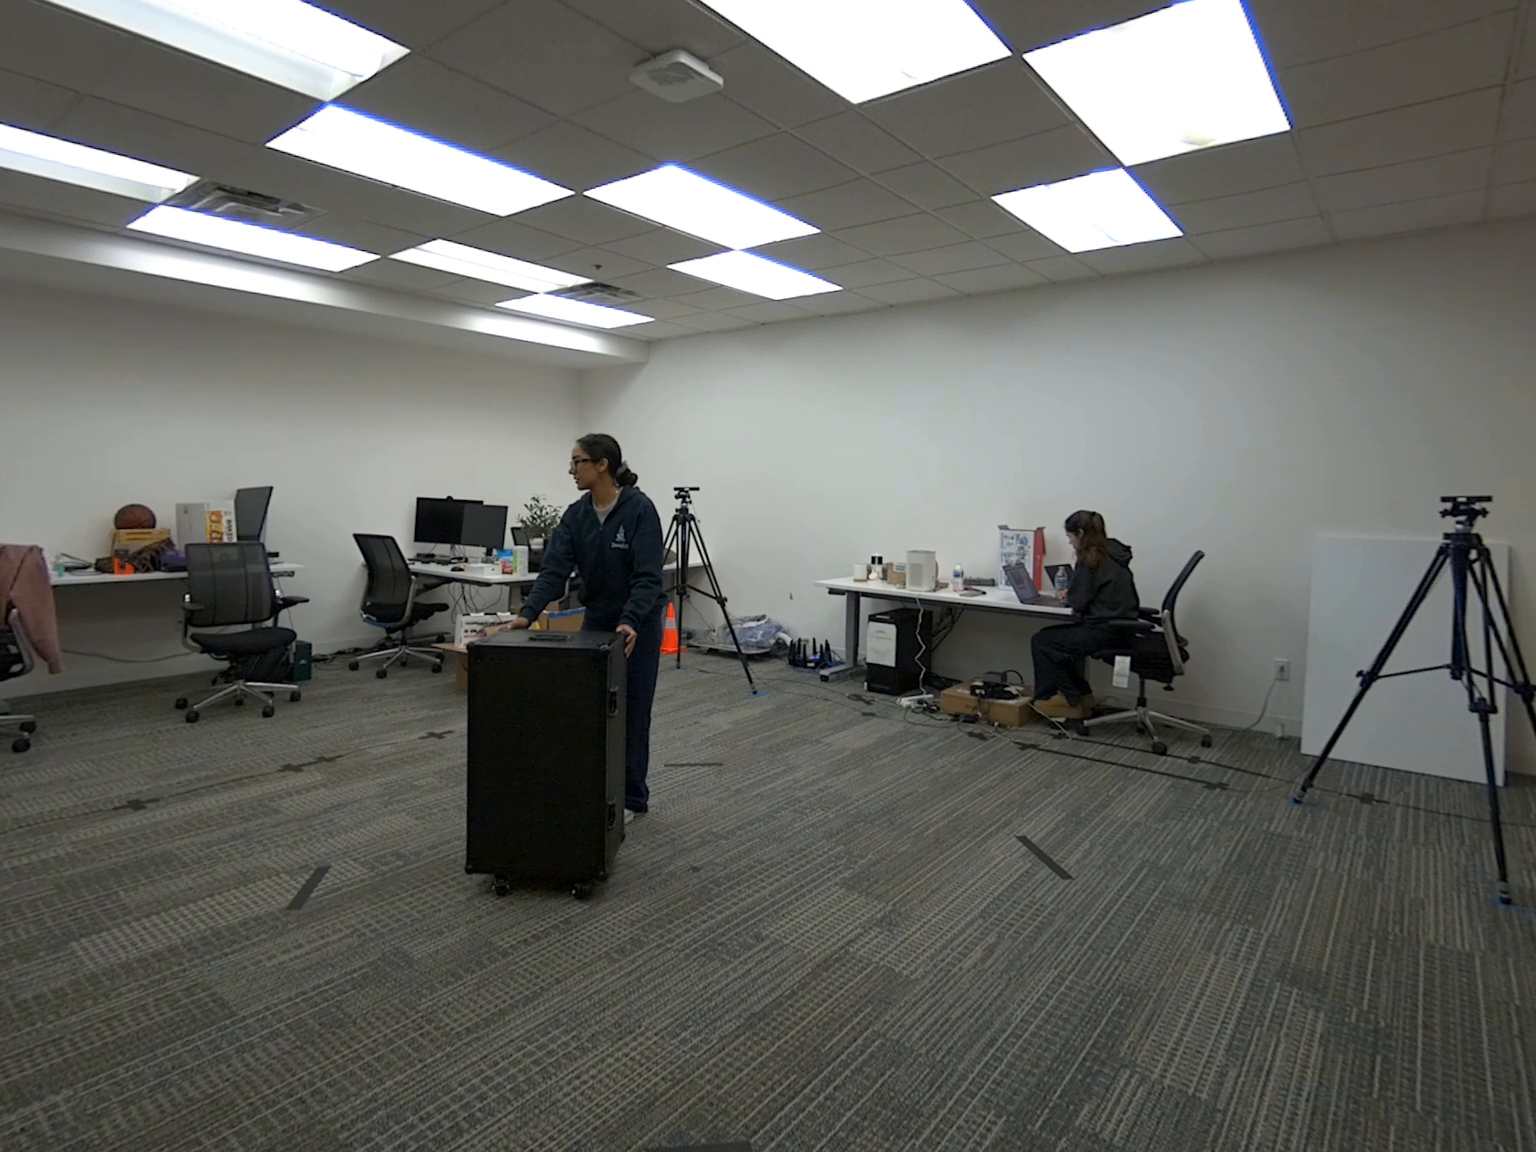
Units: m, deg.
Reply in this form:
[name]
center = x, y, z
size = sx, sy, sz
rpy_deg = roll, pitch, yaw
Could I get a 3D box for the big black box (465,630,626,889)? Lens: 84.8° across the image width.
[big black box]
center = -0.795, 0.641, 3.032
size = 0.524, 0.860, 0.395
rpy_deg = 1, 2, 4
